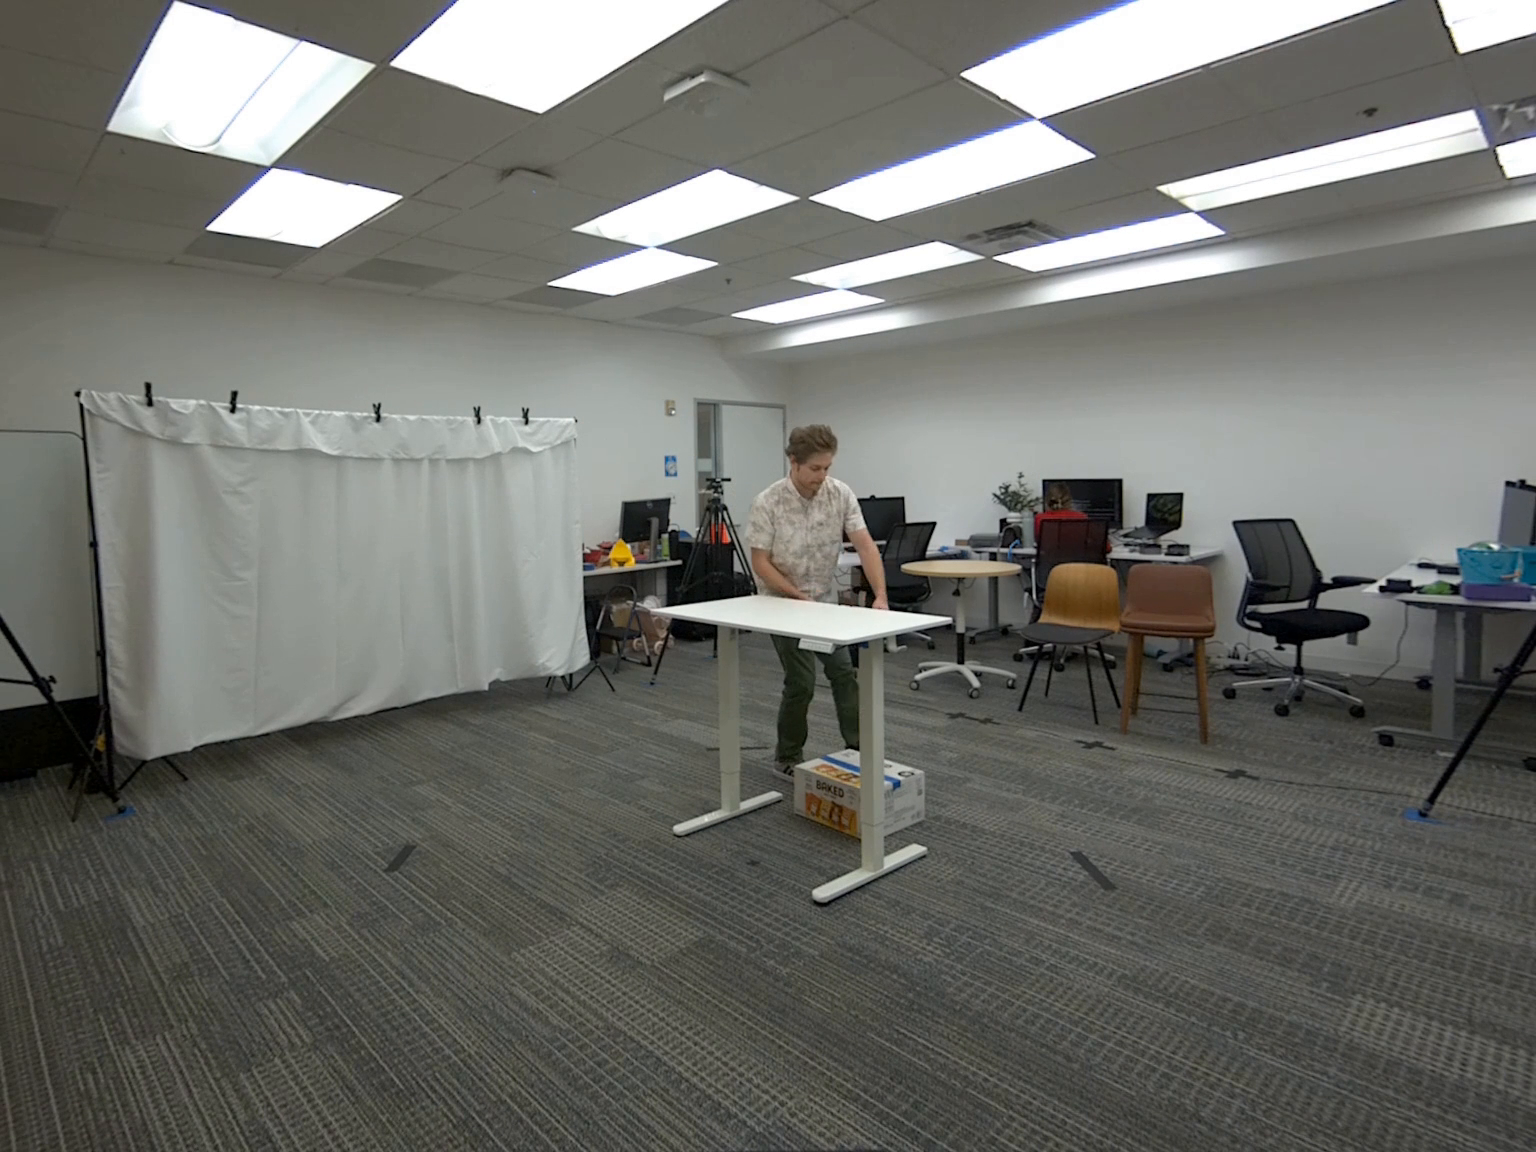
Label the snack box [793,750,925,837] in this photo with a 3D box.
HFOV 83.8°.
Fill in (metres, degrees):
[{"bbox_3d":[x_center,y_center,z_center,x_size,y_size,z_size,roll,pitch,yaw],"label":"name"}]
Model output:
[{"bbox_3d":[0.375,0.892,3.500,0.331,0.205,0.418,-6,8,-41],"label":"snack box"}]
